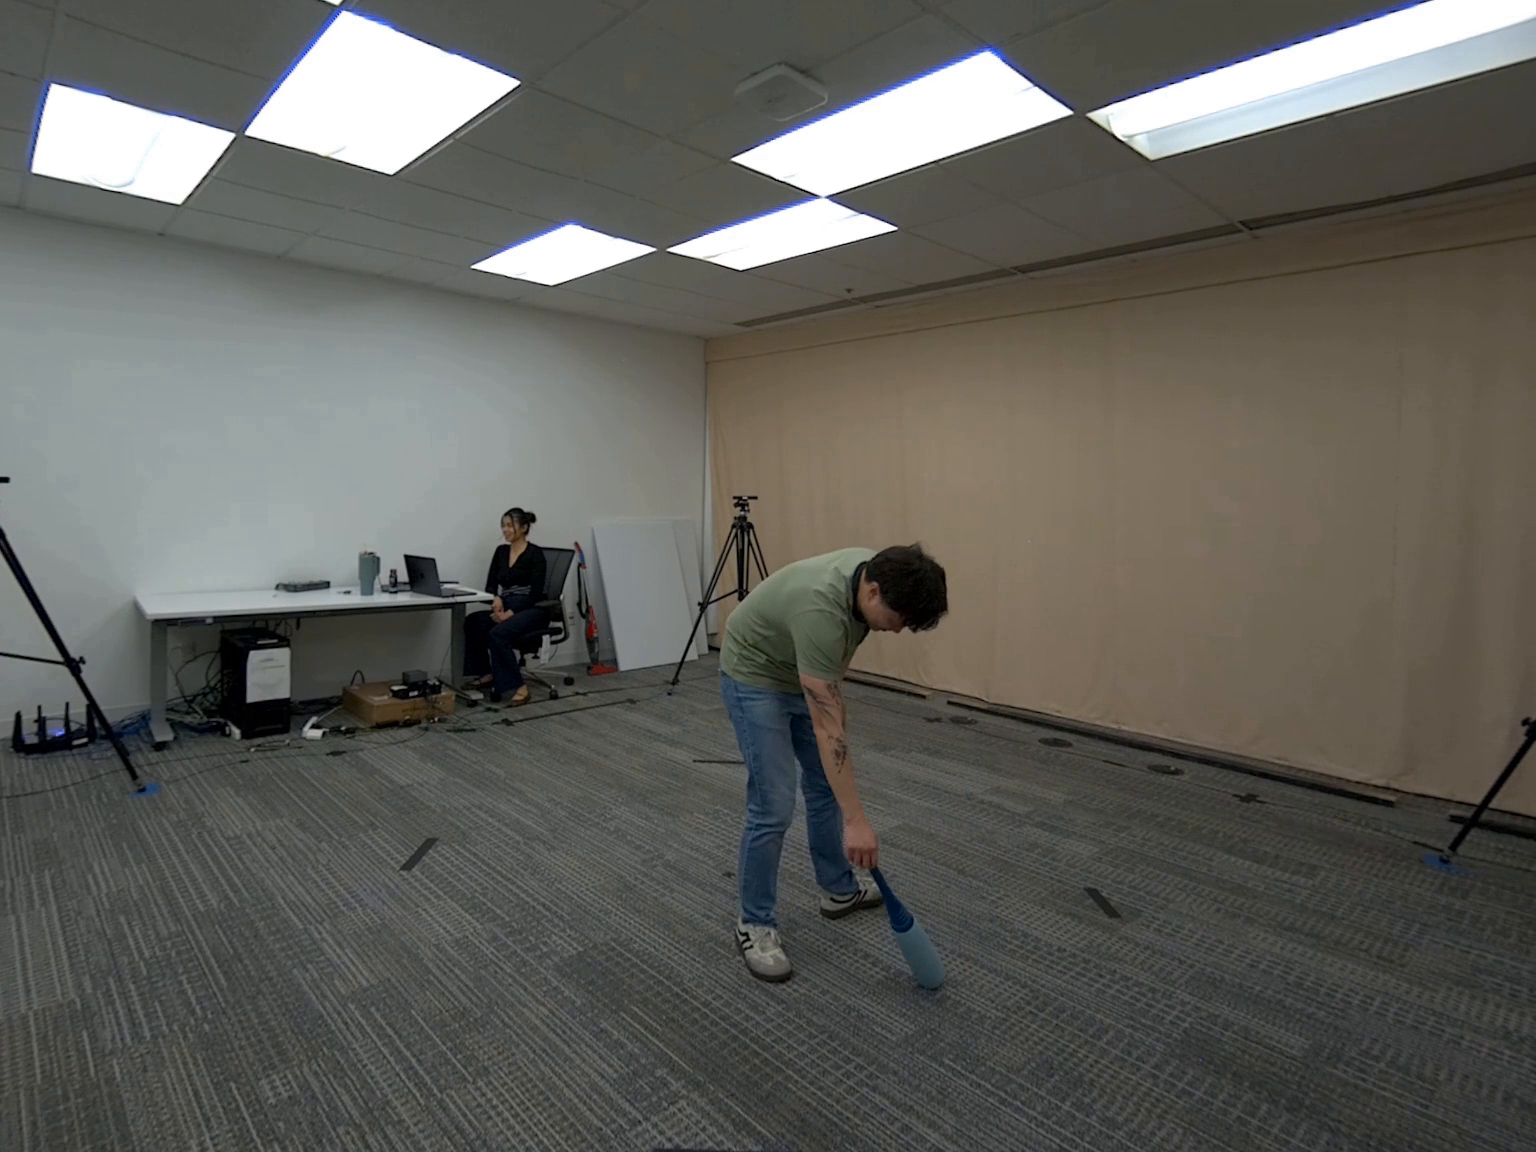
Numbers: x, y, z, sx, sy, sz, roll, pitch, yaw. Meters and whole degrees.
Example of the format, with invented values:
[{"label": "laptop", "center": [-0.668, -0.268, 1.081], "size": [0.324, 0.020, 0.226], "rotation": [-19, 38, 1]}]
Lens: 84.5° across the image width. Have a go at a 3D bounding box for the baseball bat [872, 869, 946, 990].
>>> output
[{"label": "baseball bat", "center": [0.362, 0.951, 2.330], "size": [0.089, 0.531, 0.090], "rotation": [-22, 25, 10]}]
